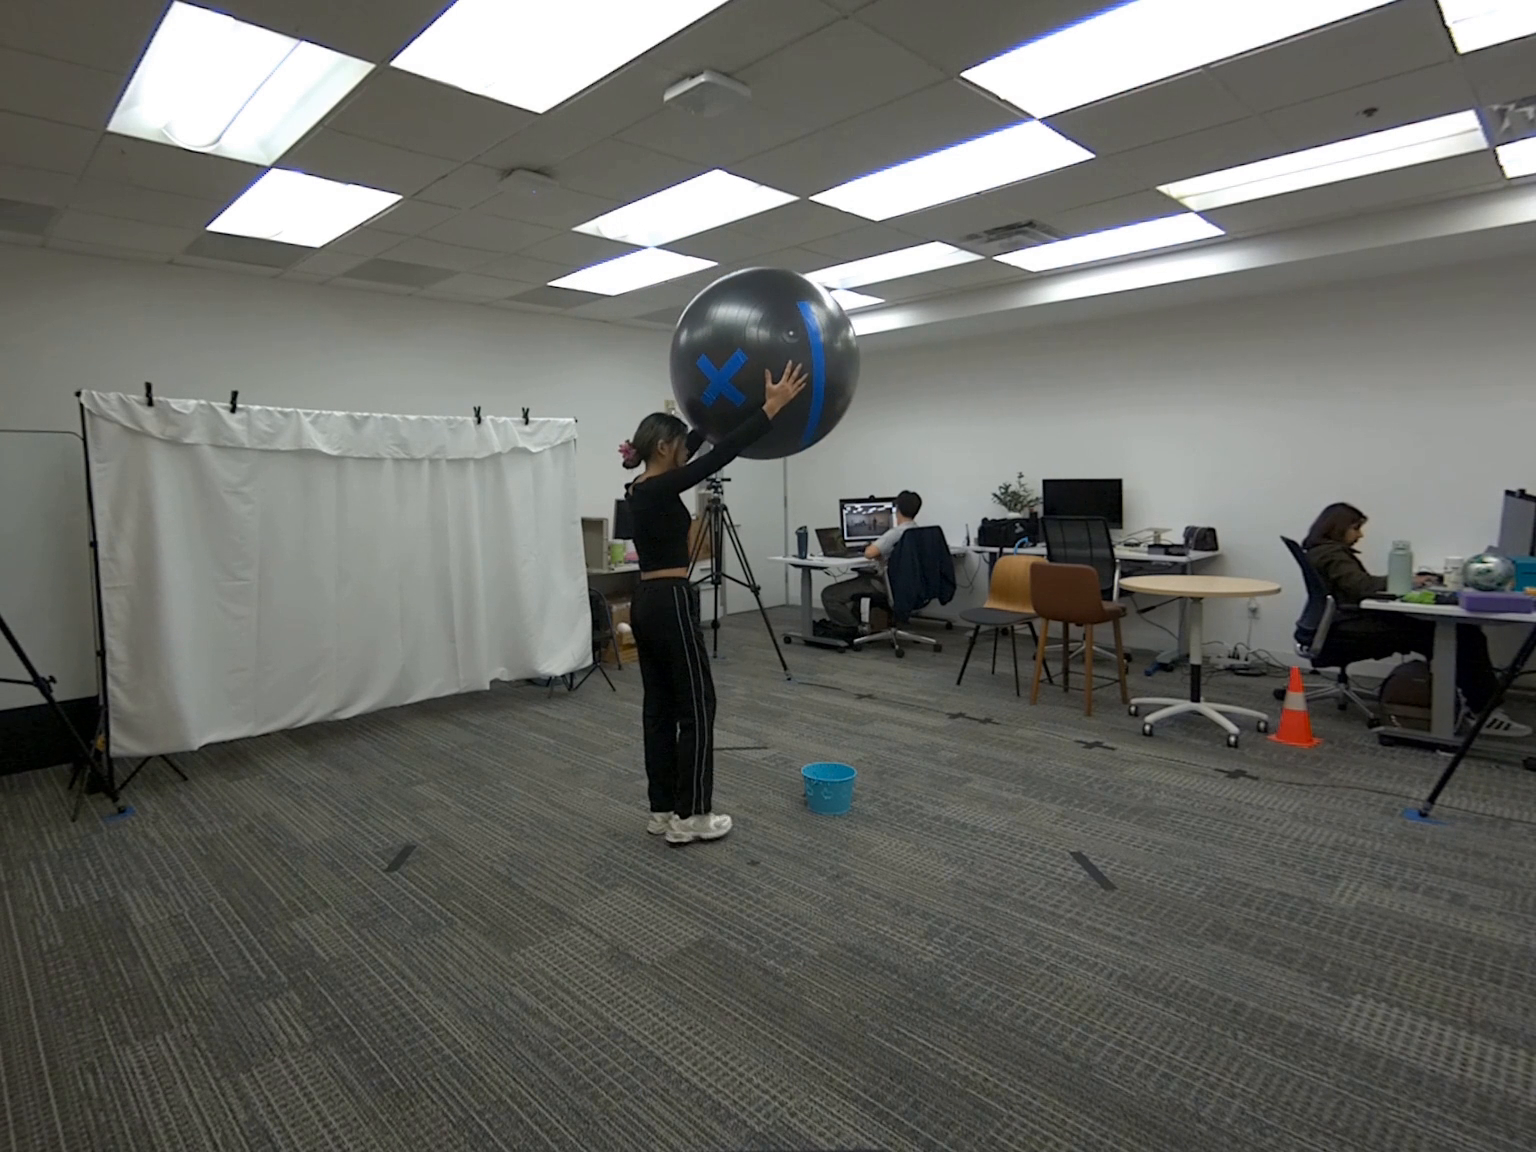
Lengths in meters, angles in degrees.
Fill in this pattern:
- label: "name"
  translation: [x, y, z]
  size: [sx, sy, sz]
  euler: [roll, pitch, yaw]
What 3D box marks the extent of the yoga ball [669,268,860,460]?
- label: "yoga ball"
  translation: [-0.014, -0.837, 3.425]
  size: [0.757, 0.755, 0.762]
  euler: [-1, 5, -2]
